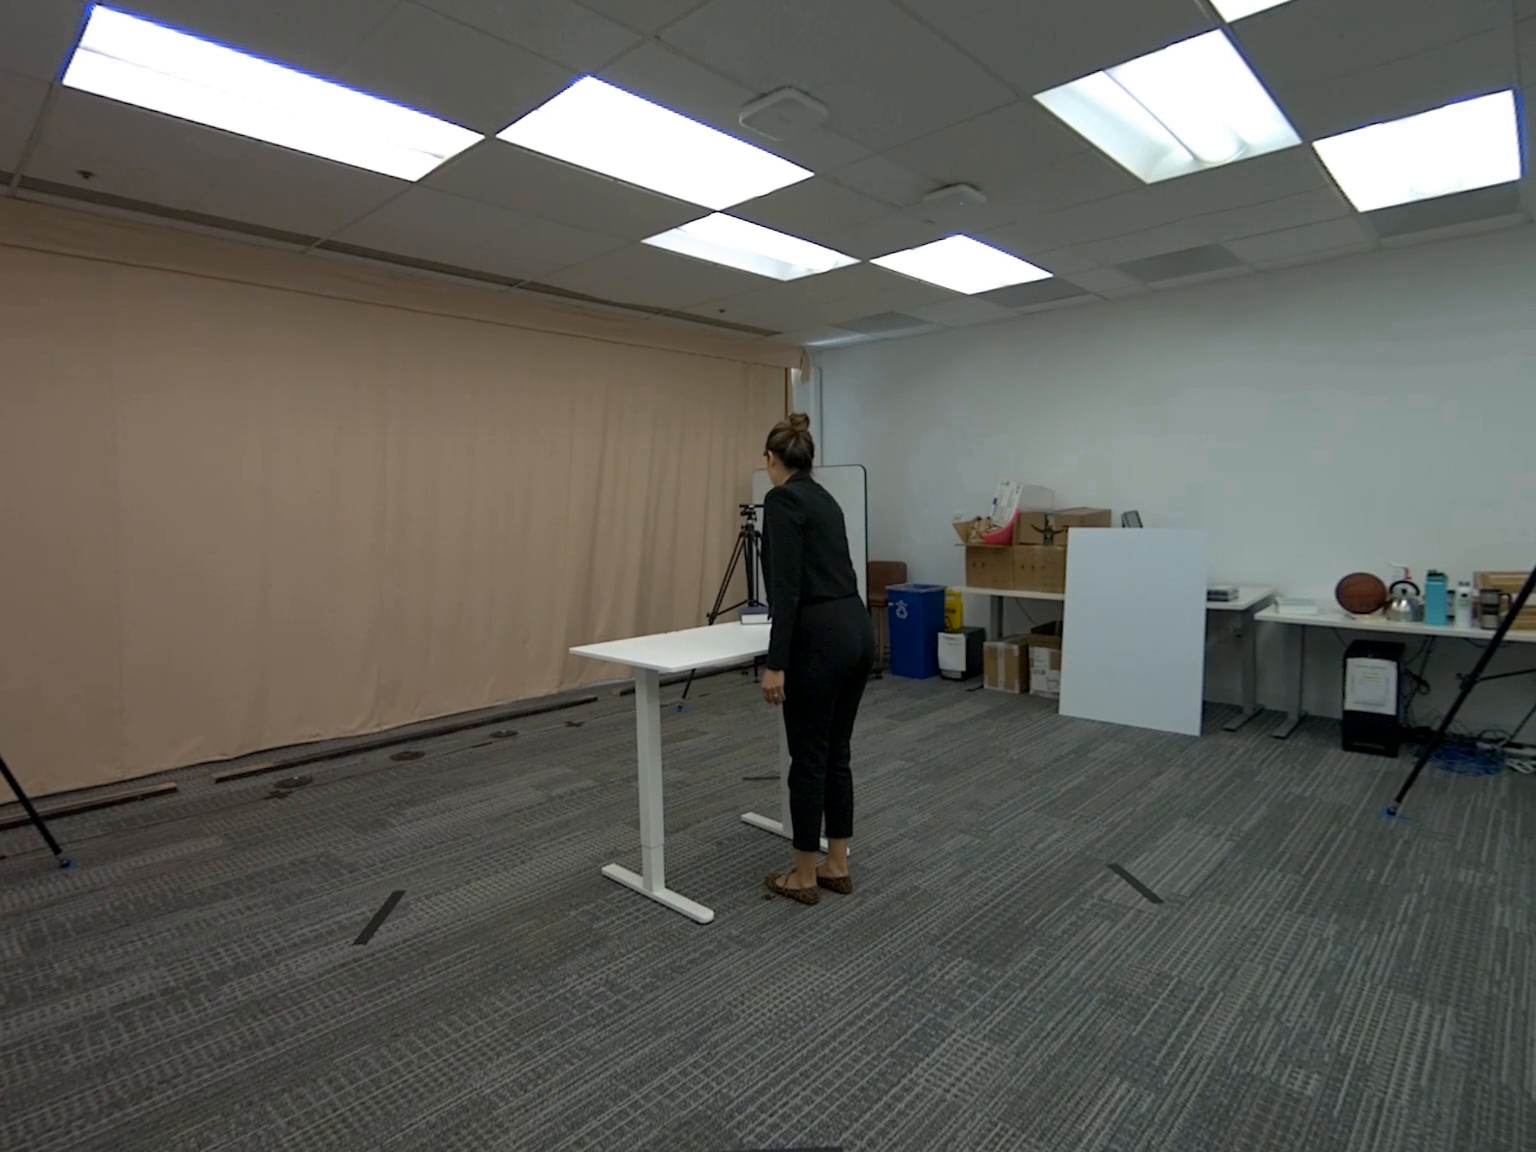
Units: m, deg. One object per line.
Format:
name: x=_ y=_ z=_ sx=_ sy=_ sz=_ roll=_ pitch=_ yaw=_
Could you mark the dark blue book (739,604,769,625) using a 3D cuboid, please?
dark blue book: x=-0.041 y=0.171 z=3.706 sx=0.163 sy=0.045 sz=0.246 roll=-2 pitch=5 yaw=-3
